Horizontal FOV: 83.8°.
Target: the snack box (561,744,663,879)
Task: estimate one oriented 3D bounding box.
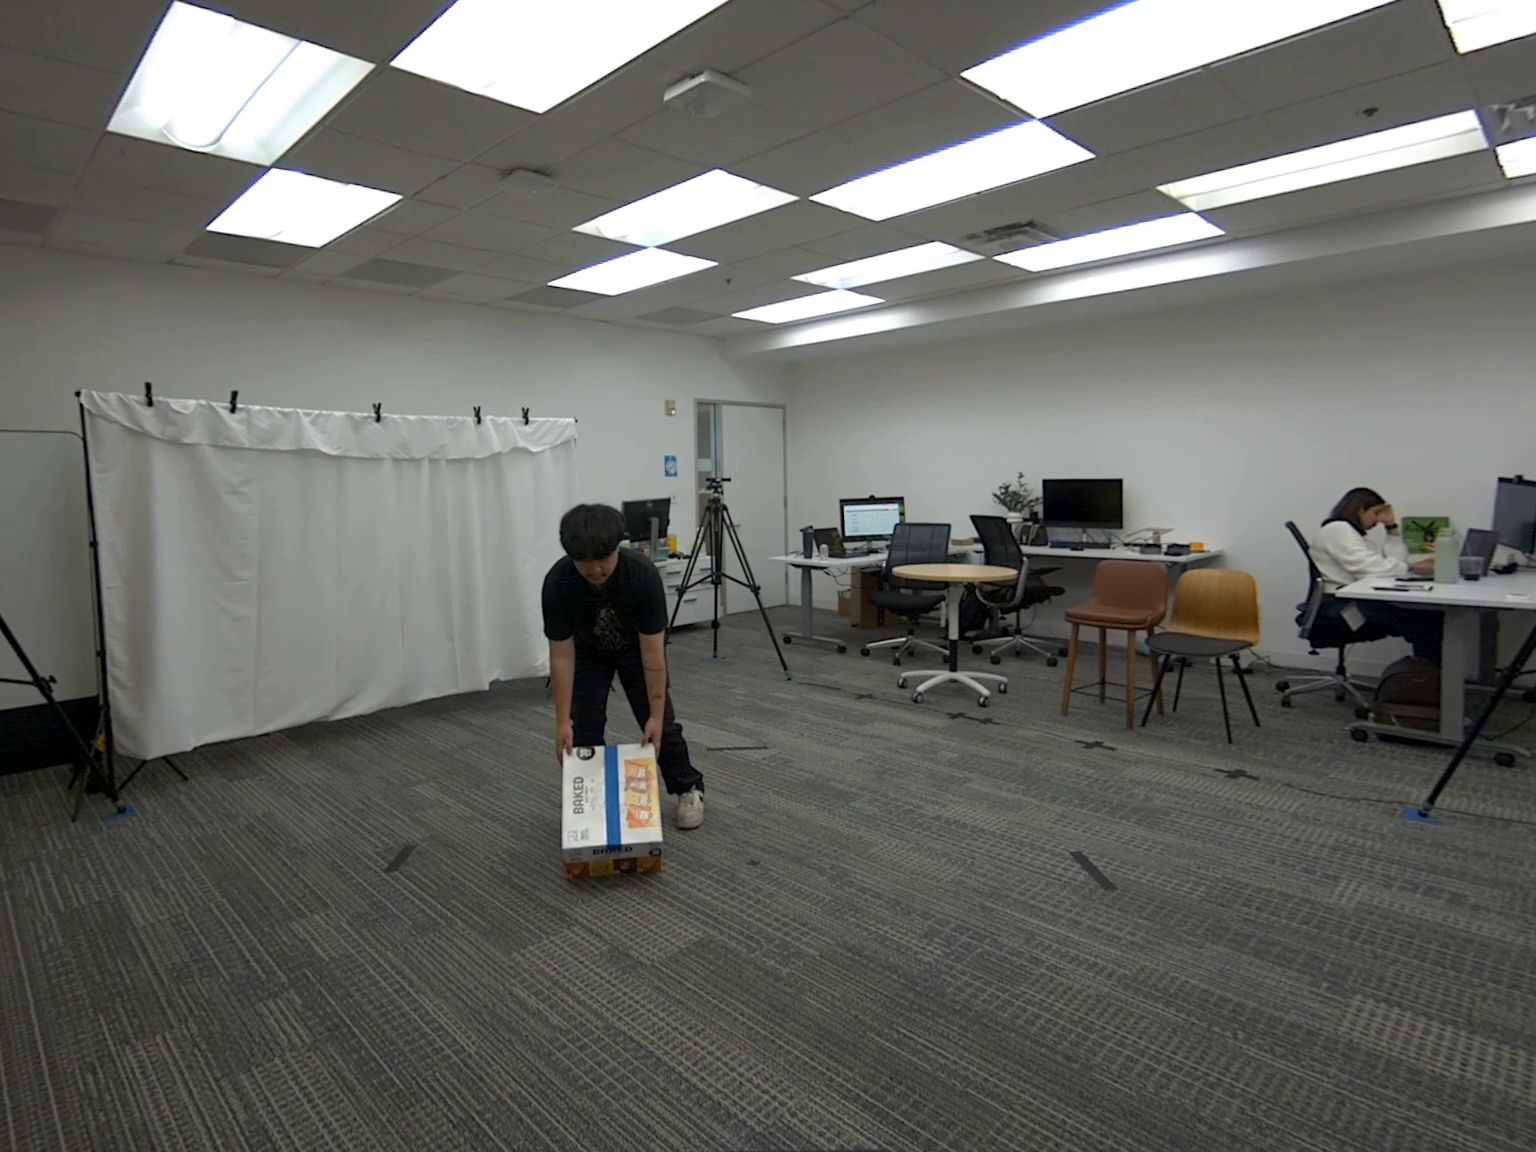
[{"bbox_3d":[-0.572,0.850,3.110,0.337,0.201,0.418,-2,43,-10],"label":"snack box"}]
